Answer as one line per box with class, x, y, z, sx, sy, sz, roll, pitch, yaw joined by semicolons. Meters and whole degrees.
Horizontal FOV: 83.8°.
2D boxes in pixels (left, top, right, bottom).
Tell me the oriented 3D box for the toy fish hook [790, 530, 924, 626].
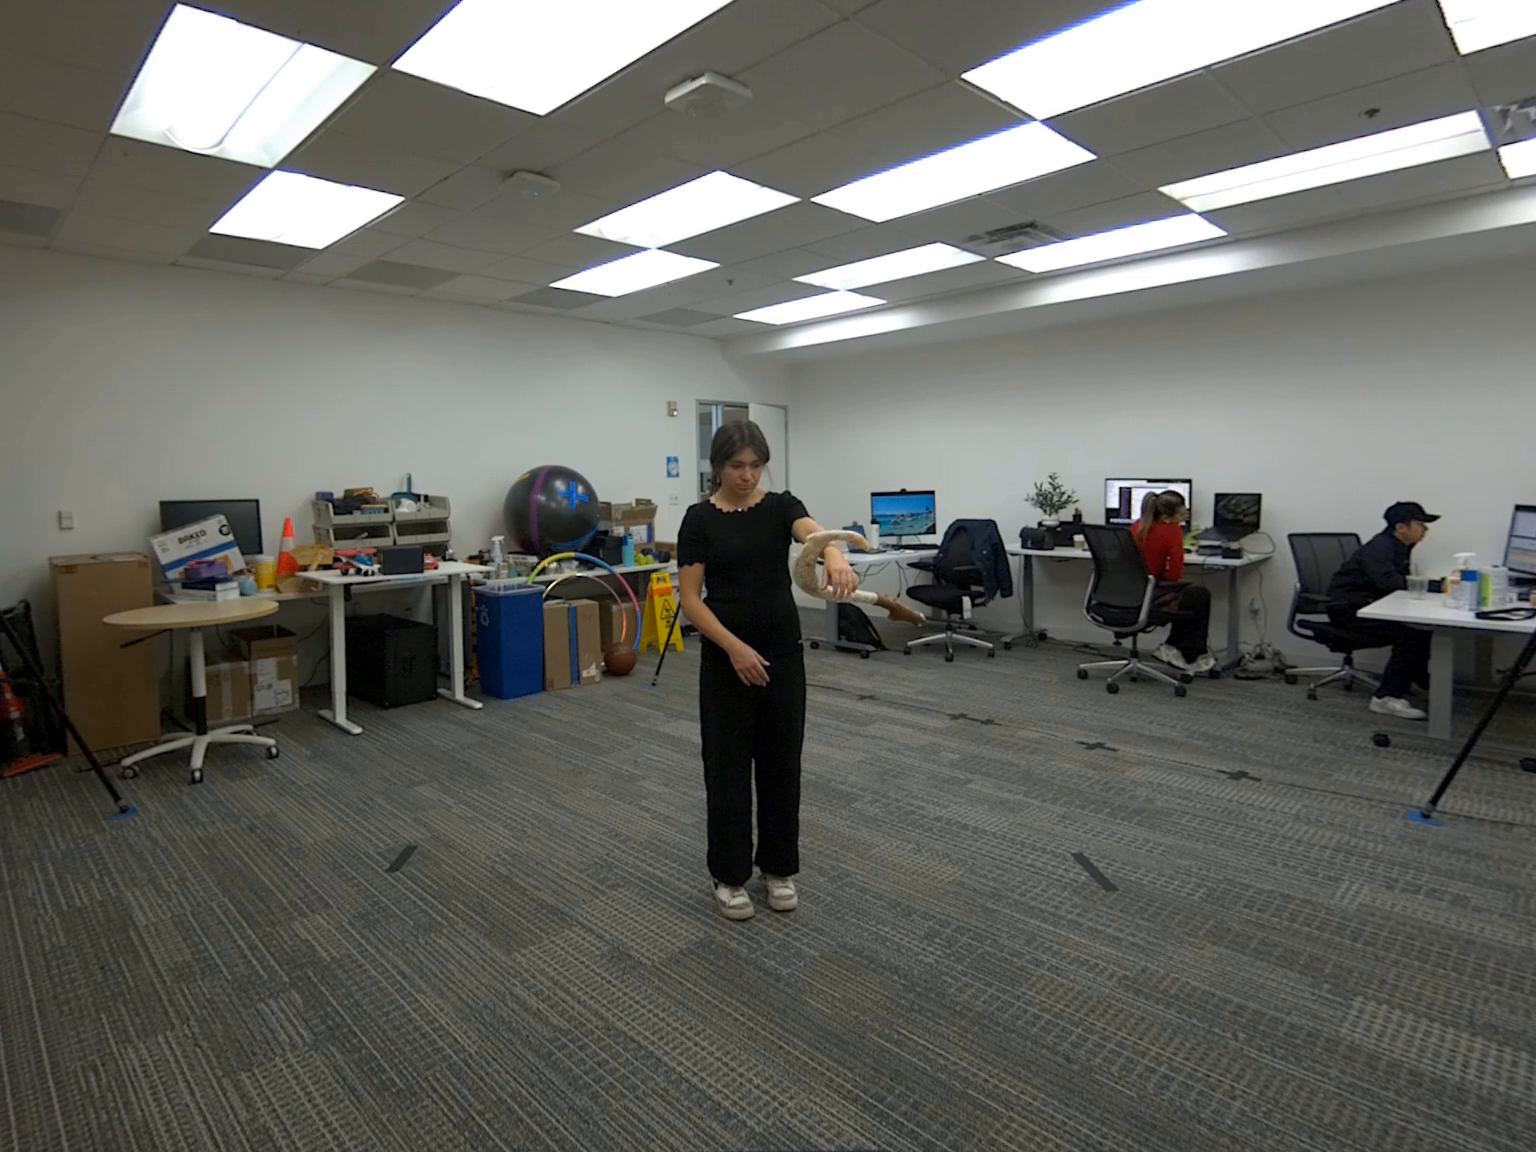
toy fish hook;0.289;0.026;2.509;0.493;0.223;0.050;22;19;-25
